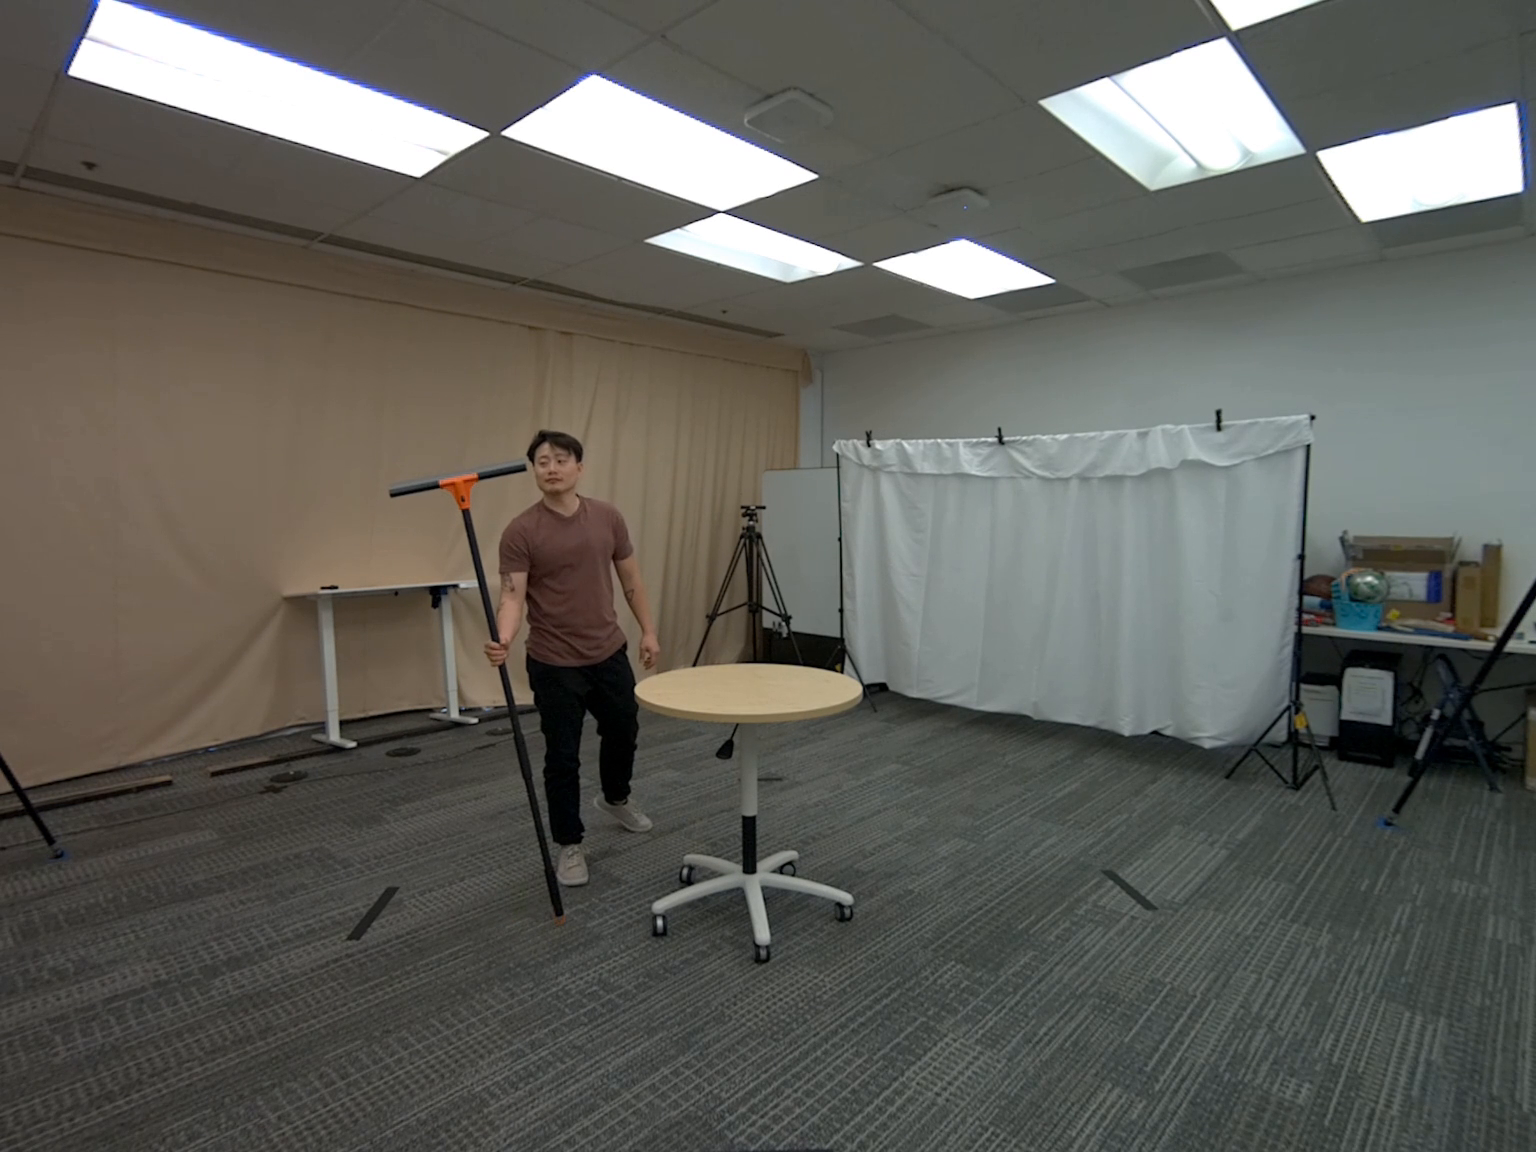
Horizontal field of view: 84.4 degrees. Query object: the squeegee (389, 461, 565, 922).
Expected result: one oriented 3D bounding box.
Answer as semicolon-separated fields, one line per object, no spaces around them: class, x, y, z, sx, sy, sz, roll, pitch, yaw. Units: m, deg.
squeegee;-0.832;0.410;2.770;0.433;1.531;0.054;-13;4;-11
